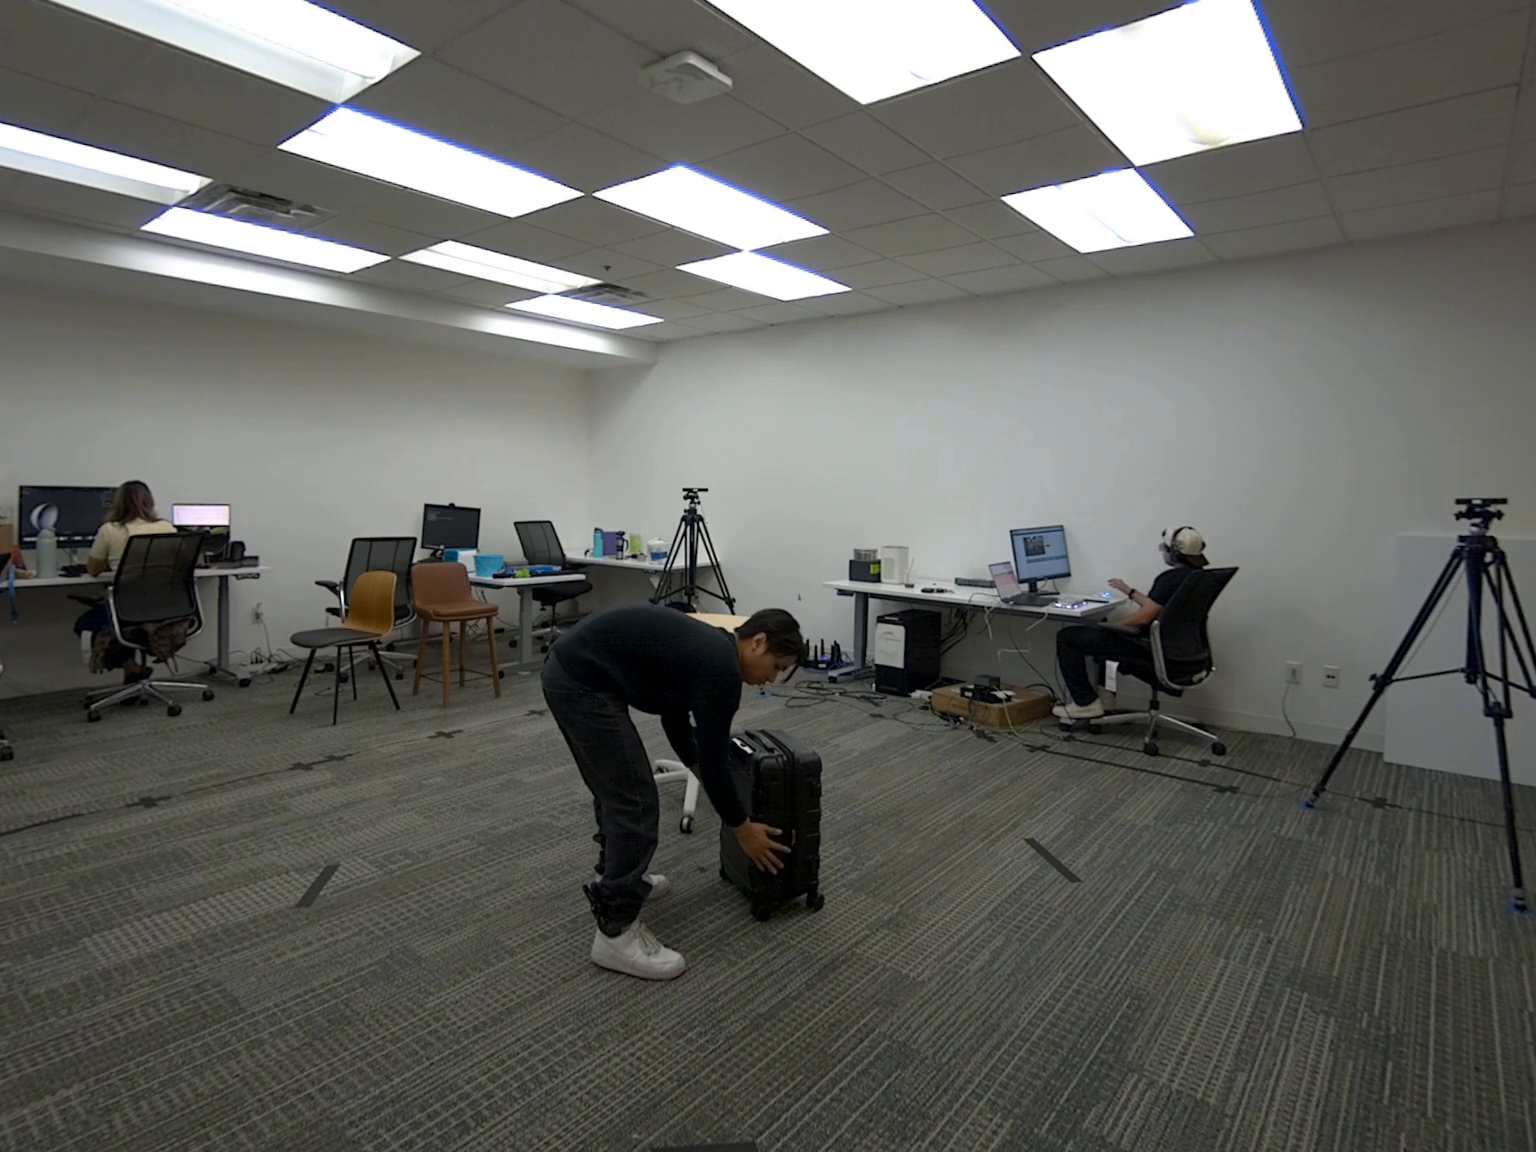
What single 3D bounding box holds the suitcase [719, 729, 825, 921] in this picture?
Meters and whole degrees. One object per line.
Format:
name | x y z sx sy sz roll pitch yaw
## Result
suitcase | -0.005 0.820 2.902 0.243 0.547 0.384 0 4 -21
